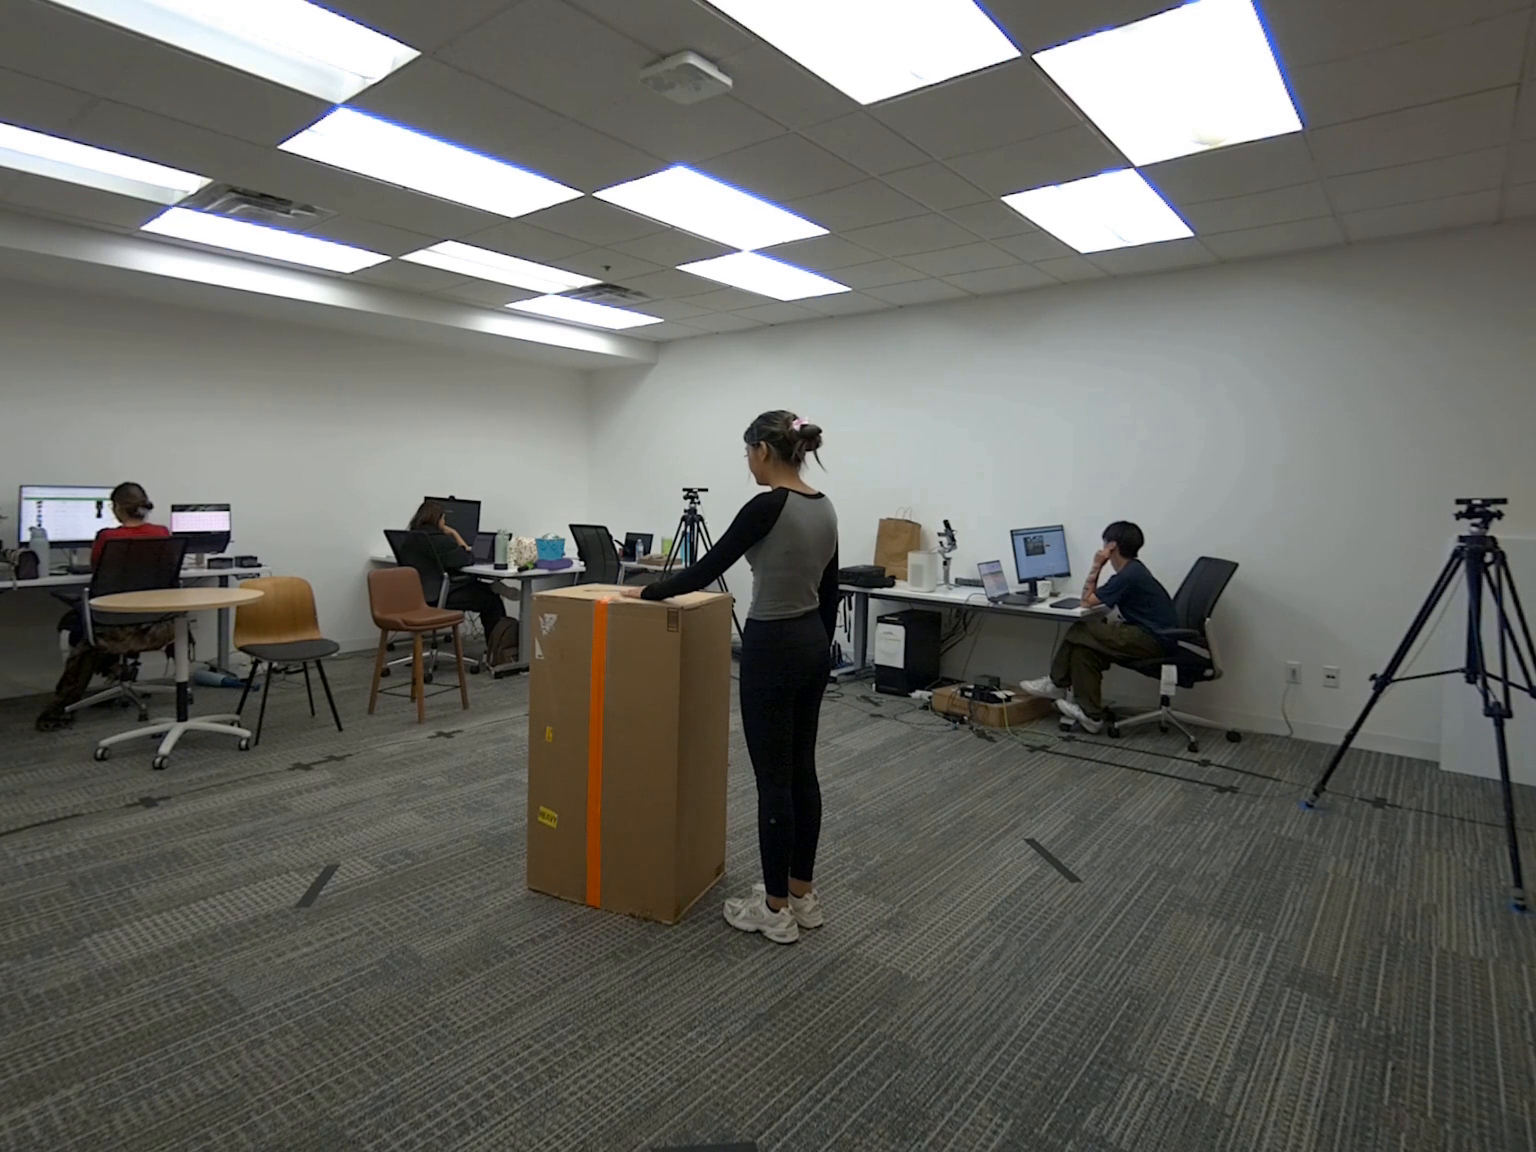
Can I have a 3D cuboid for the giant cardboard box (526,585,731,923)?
[{"bbox_3d":[-0.495,0.572,2.978,0.598,1.025,0.437,3,3,22],"label":"giant cardboard box"}]
